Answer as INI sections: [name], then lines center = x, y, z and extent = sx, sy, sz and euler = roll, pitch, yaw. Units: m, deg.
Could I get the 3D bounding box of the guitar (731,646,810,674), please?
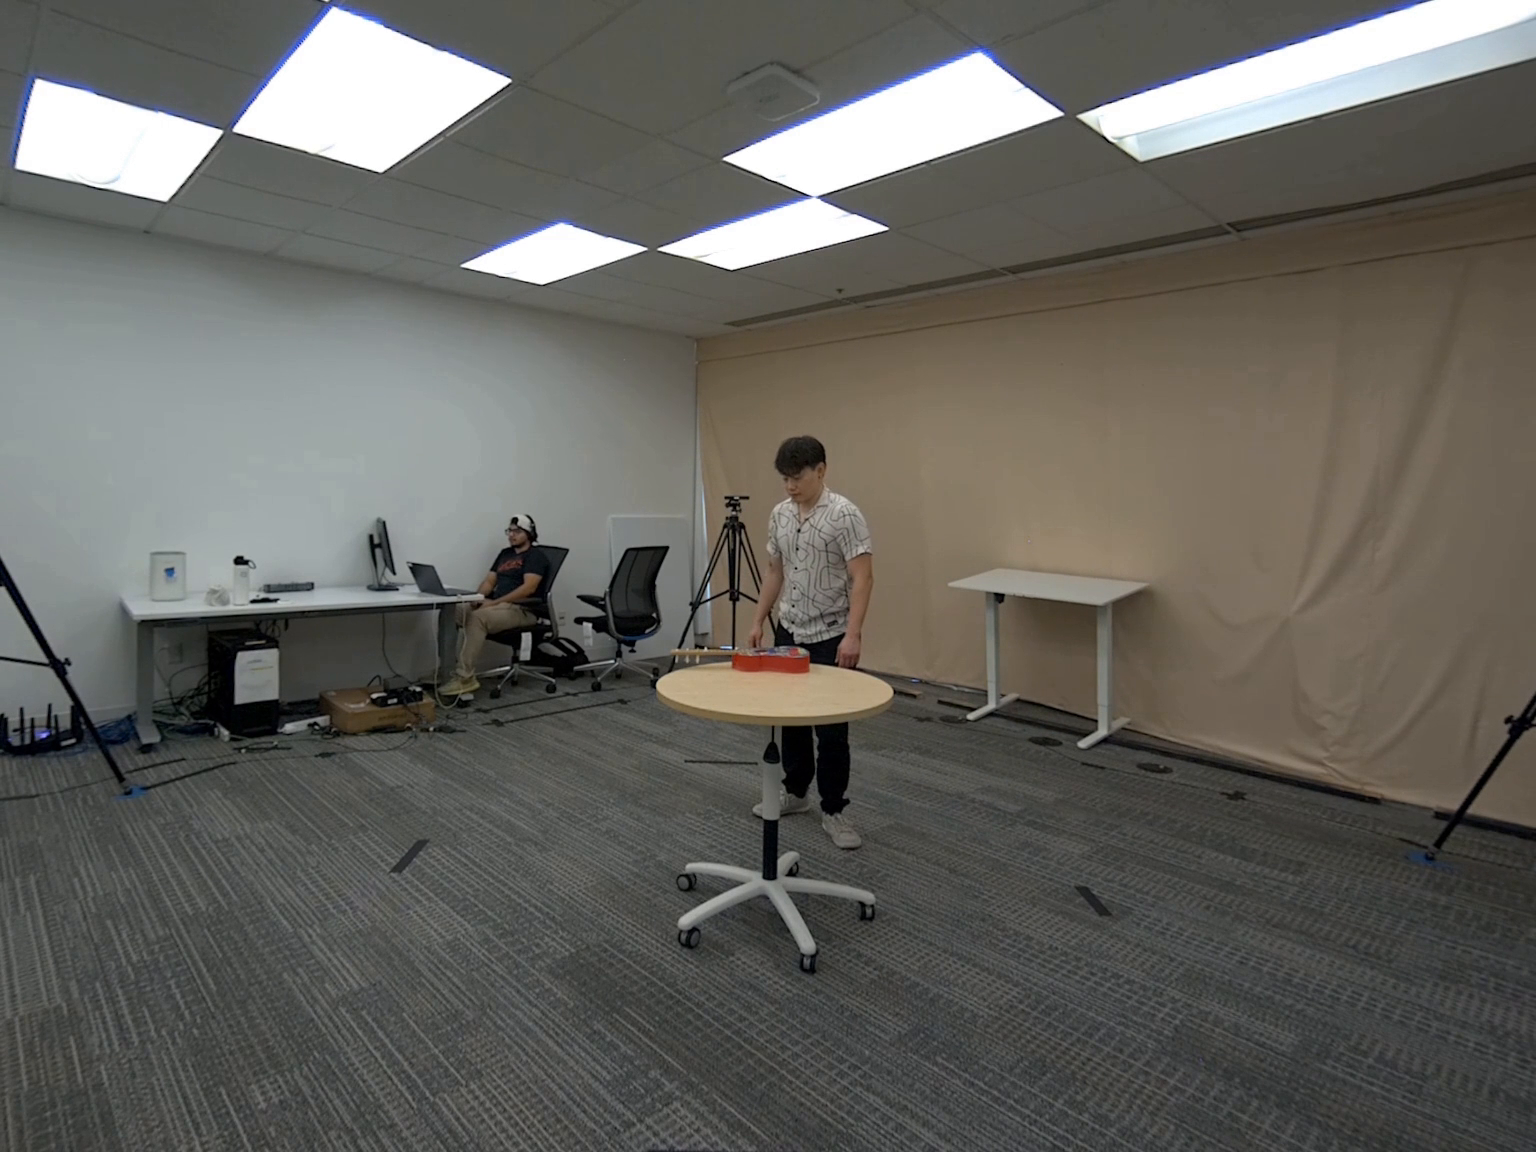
[guitar]
center = -0.096, 0.295, 3.028
extent = 0.499, 0.070, 0.193
euler = 2, 6, 4
